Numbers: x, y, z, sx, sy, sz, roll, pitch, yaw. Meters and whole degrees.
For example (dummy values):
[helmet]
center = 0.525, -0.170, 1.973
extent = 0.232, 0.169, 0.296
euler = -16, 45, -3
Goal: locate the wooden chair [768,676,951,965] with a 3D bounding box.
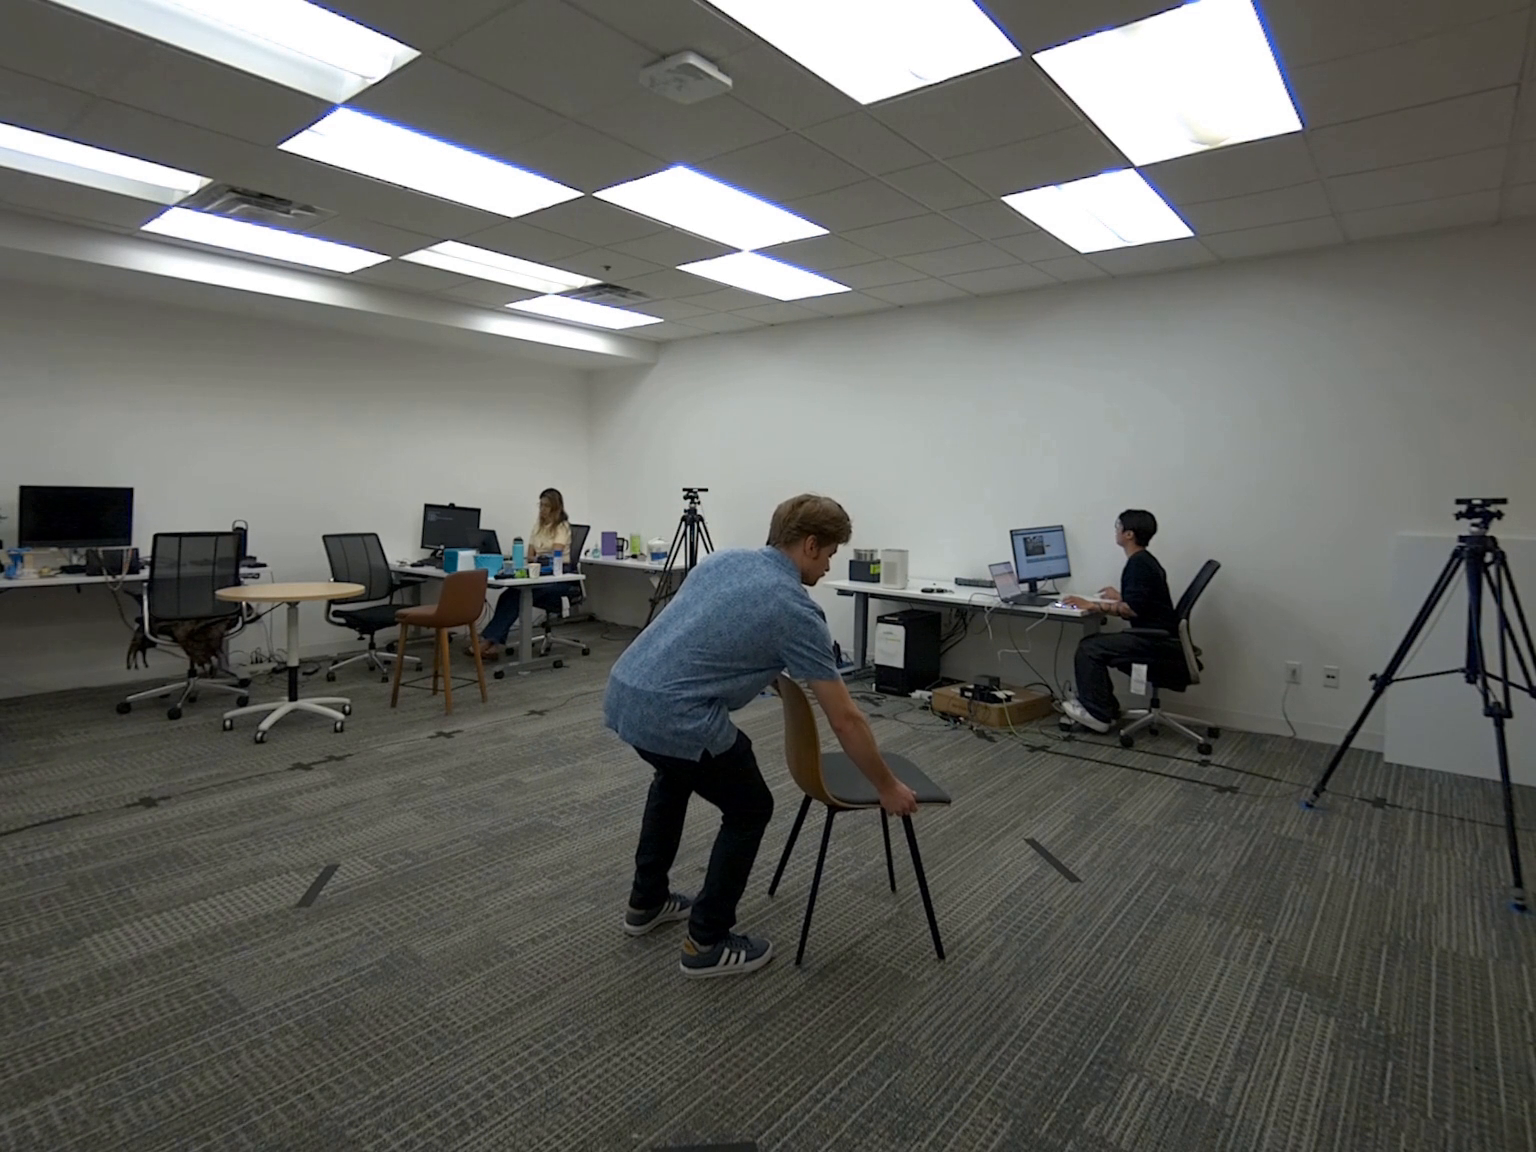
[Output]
[wooden chair]
center = 0.279, 0.687, 2.711
extent = 0.519, 0.875, 0.483
euler = -3, 3, -8
